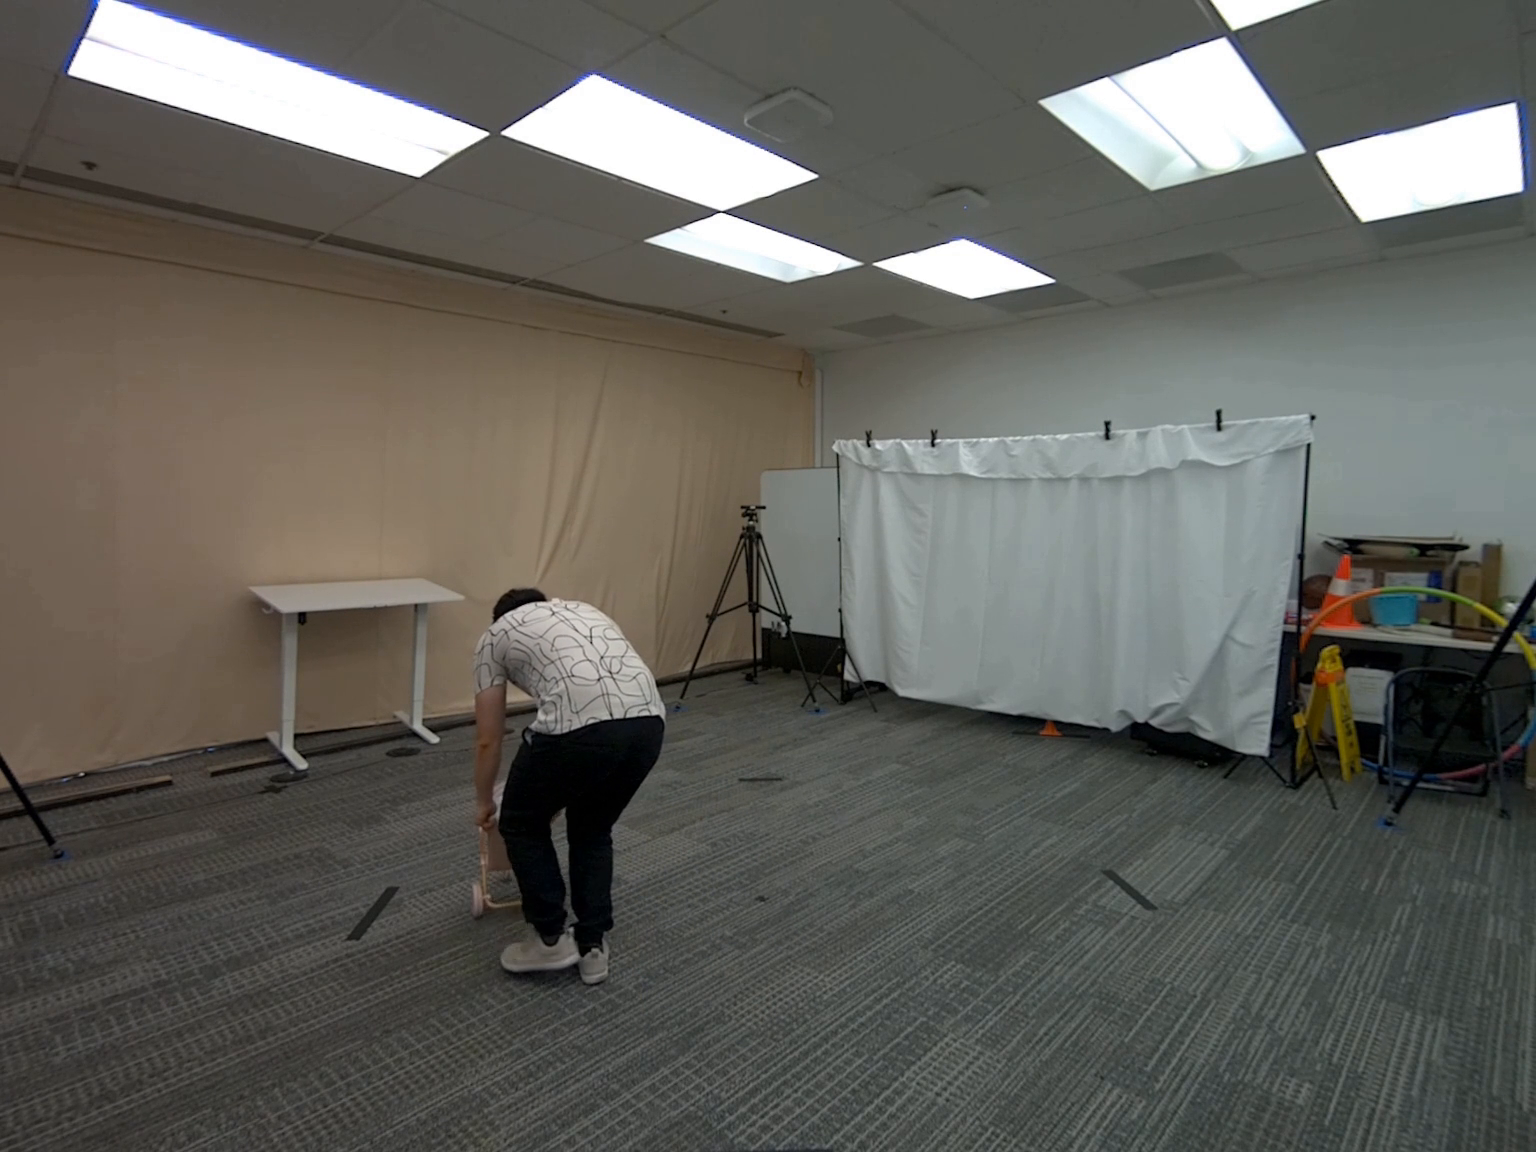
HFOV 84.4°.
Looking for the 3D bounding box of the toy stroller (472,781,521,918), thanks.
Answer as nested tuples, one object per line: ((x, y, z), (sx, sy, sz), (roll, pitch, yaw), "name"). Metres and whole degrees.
((-0.899, 0.938, 2.958), (0.276, 0.530, 0.351), (1, 22, -18), "toy stroller")
